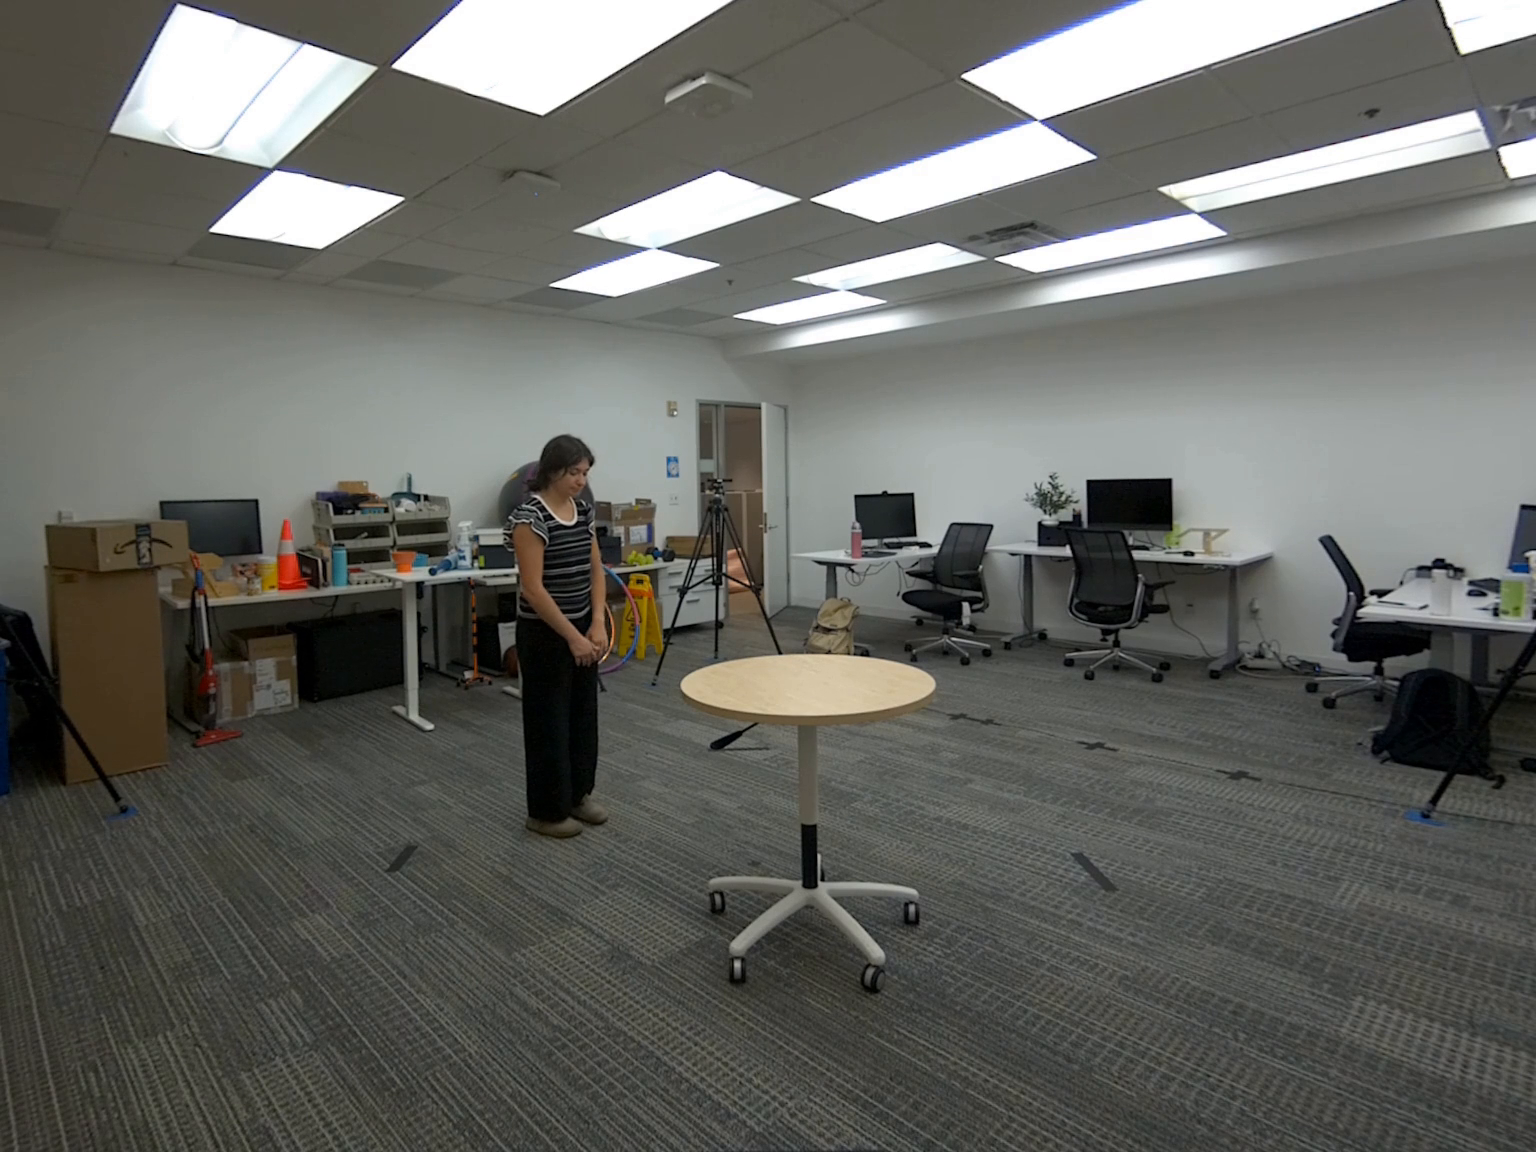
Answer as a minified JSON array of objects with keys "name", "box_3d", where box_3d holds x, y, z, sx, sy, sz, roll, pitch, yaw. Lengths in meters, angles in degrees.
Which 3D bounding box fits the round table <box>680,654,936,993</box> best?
[{"name":"round table","box_3d":[0.133,0.712,2.618,0.763,0.791,0.768,-2,5,-2]}]
